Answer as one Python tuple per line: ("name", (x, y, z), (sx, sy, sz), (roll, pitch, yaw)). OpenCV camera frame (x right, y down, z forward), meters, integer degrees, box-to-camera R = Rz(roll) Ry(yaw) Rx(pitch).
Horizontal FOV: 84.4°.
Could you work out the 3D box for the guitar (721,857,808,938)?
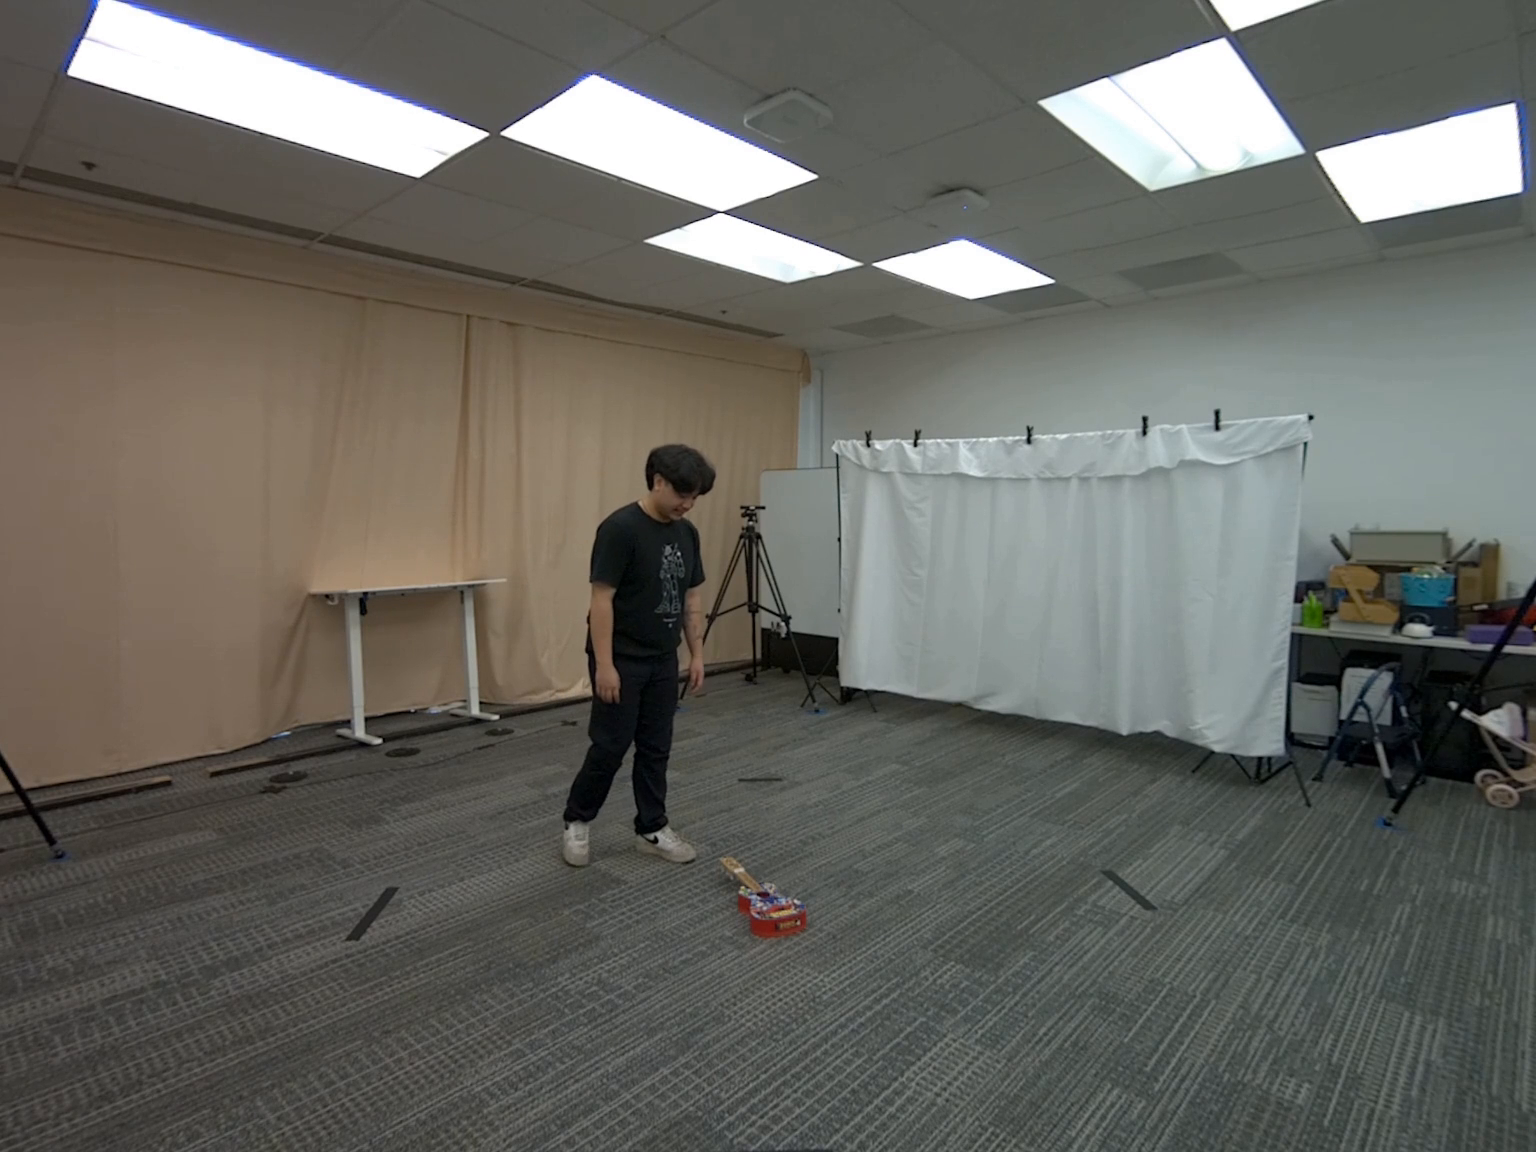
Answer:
("guitar", (-0.022, 1.110, 2.964), (0.190, 0.070, 0.508), (-2, 6, -18))
